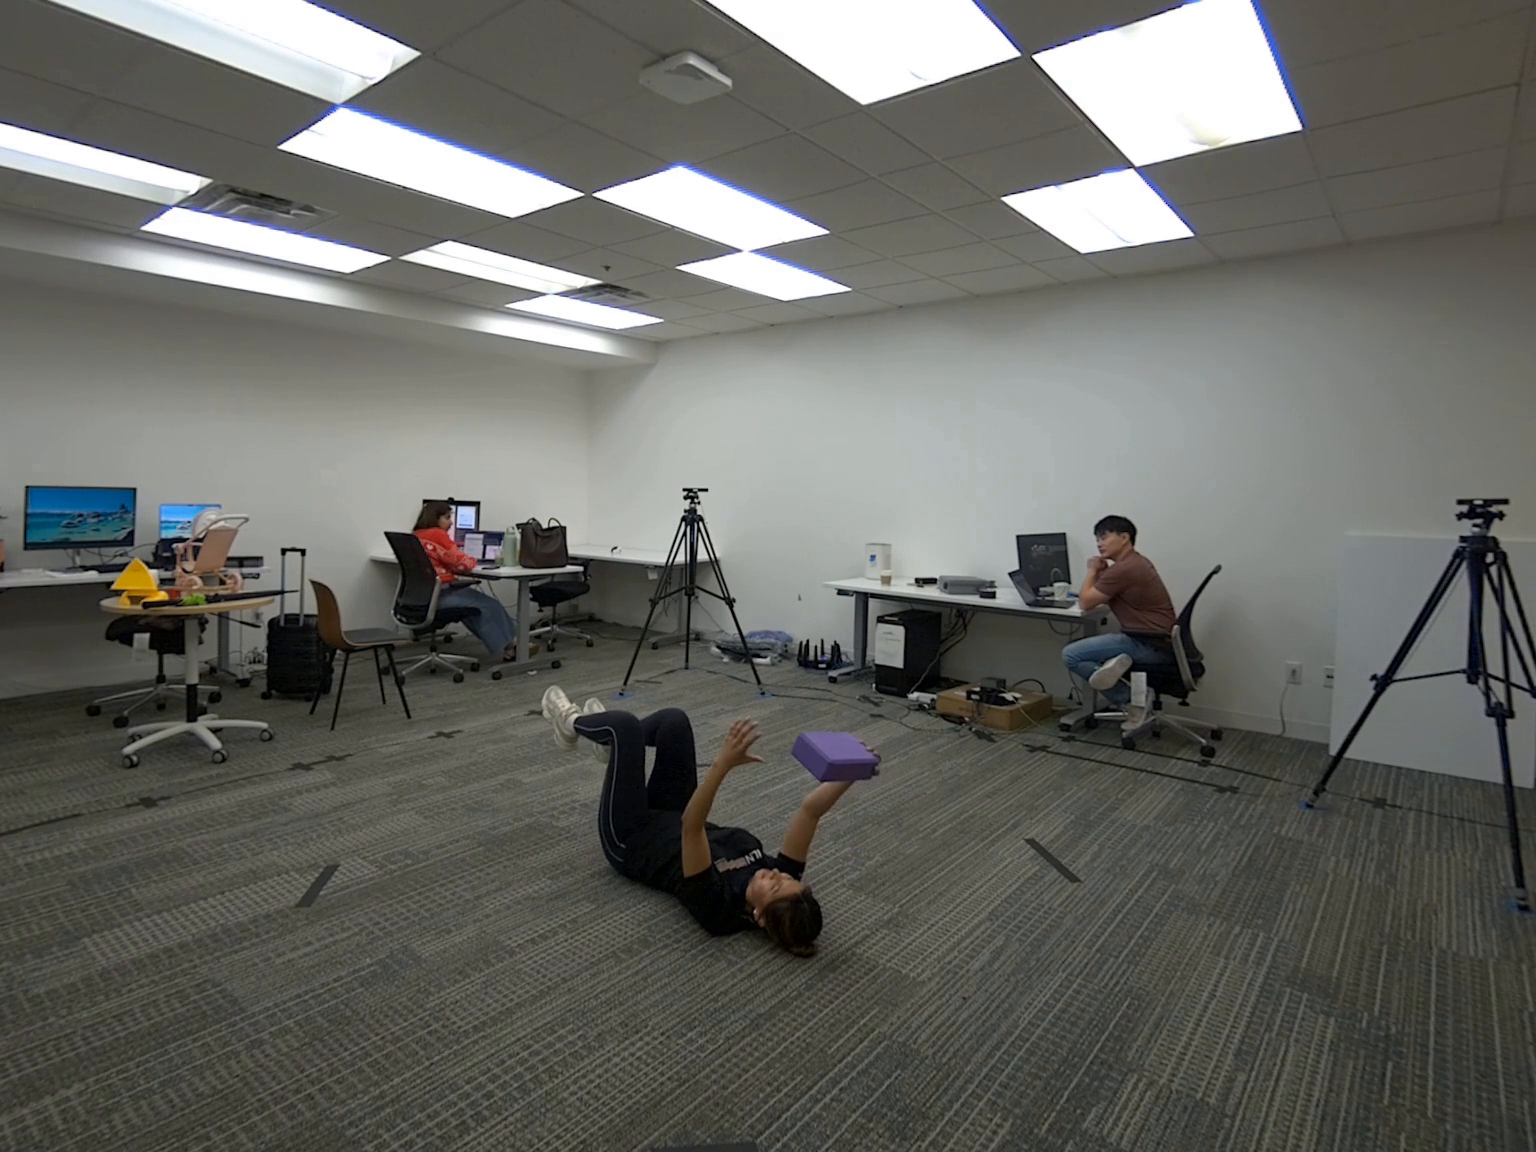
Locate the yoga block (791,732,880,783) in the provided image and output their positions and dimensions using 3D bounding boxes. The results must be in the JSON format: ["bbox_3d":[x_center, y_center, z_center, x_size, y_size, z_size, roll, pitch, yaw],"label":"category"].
[{"bbox_3d":[0.186,0.522,2.462,0.221,0.076,0.155,12,17,-42],"label":"yoga block"}]
